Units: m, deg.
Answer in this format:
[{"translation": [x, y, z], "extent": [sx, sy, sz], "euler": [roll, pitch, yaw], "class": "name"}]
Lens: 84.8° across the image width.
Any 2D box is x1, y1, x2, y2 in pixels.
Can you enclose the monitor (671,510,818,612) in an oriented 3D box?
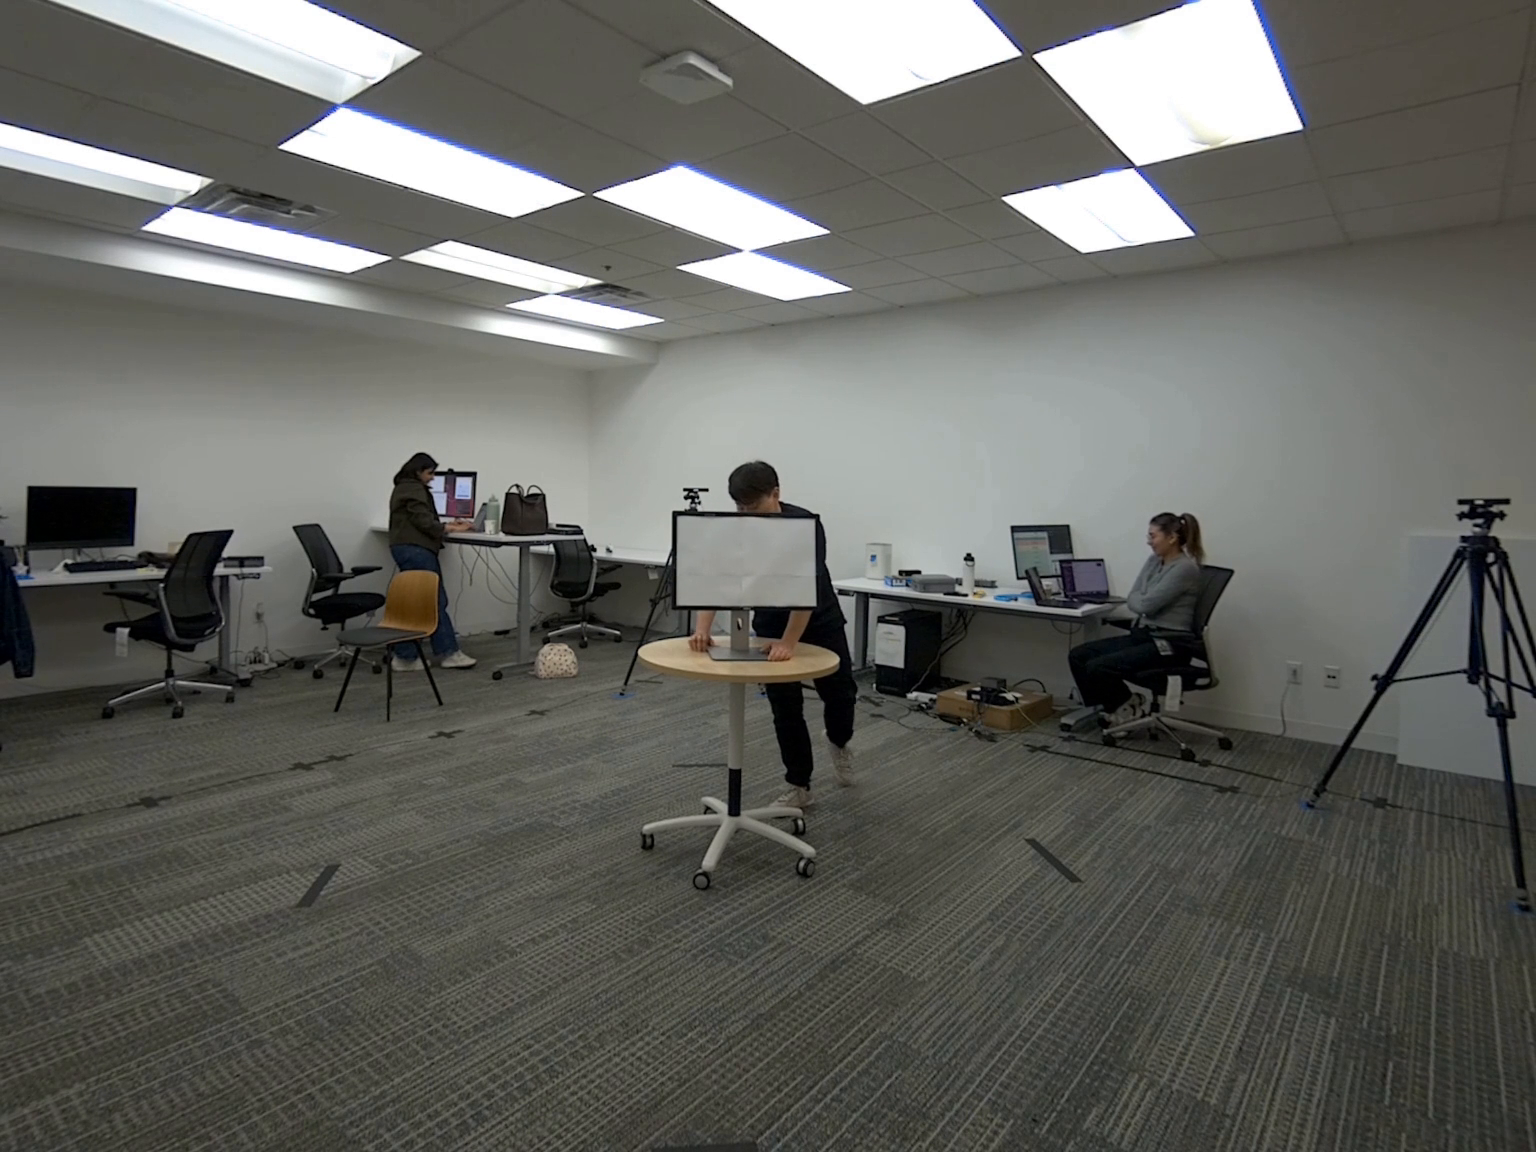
[{"translation": [-0.091, 0.037, 3.193], "extent": [0.533, 0.520, 0.190], "euler": [1, 5, -11], "class": "monitor"}]
